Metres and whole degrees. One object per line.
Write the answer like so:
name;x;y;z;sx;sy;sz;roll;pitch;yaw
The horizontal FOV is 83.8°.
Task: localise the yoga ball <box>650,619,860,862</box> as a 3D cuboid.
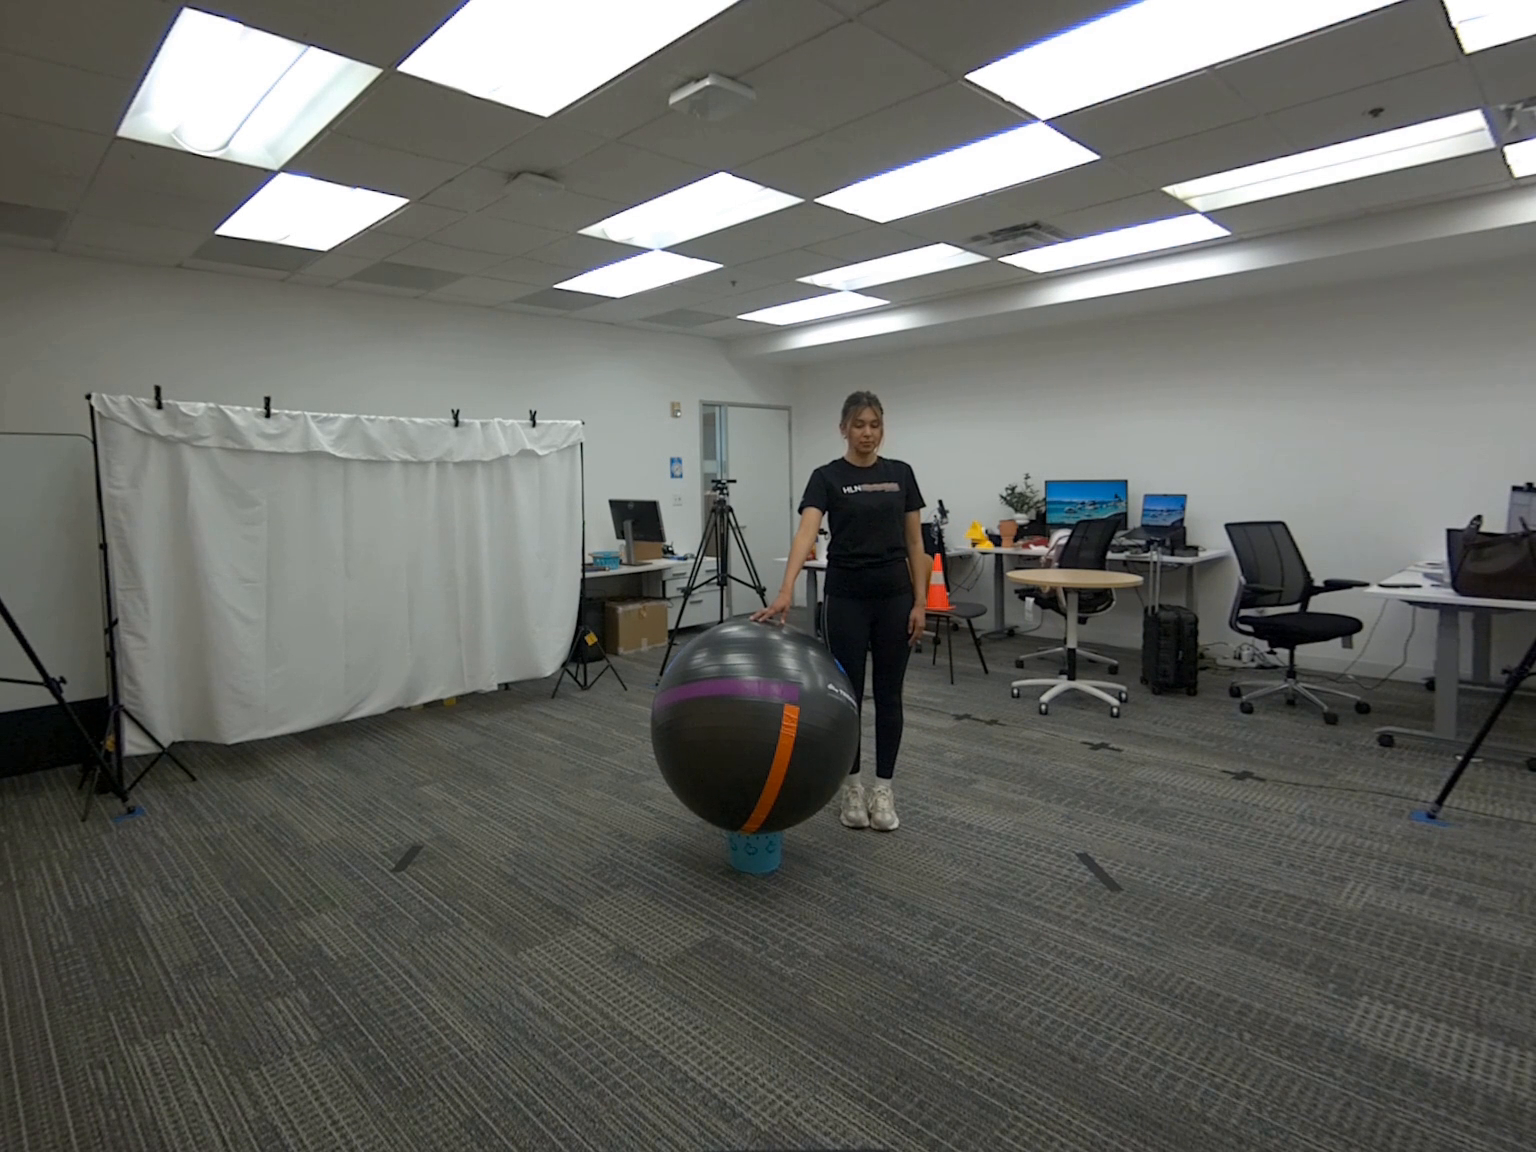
yoga ball;-0.047;0.542;3.107;0.757;0.755;0.762;-1;5;-2
